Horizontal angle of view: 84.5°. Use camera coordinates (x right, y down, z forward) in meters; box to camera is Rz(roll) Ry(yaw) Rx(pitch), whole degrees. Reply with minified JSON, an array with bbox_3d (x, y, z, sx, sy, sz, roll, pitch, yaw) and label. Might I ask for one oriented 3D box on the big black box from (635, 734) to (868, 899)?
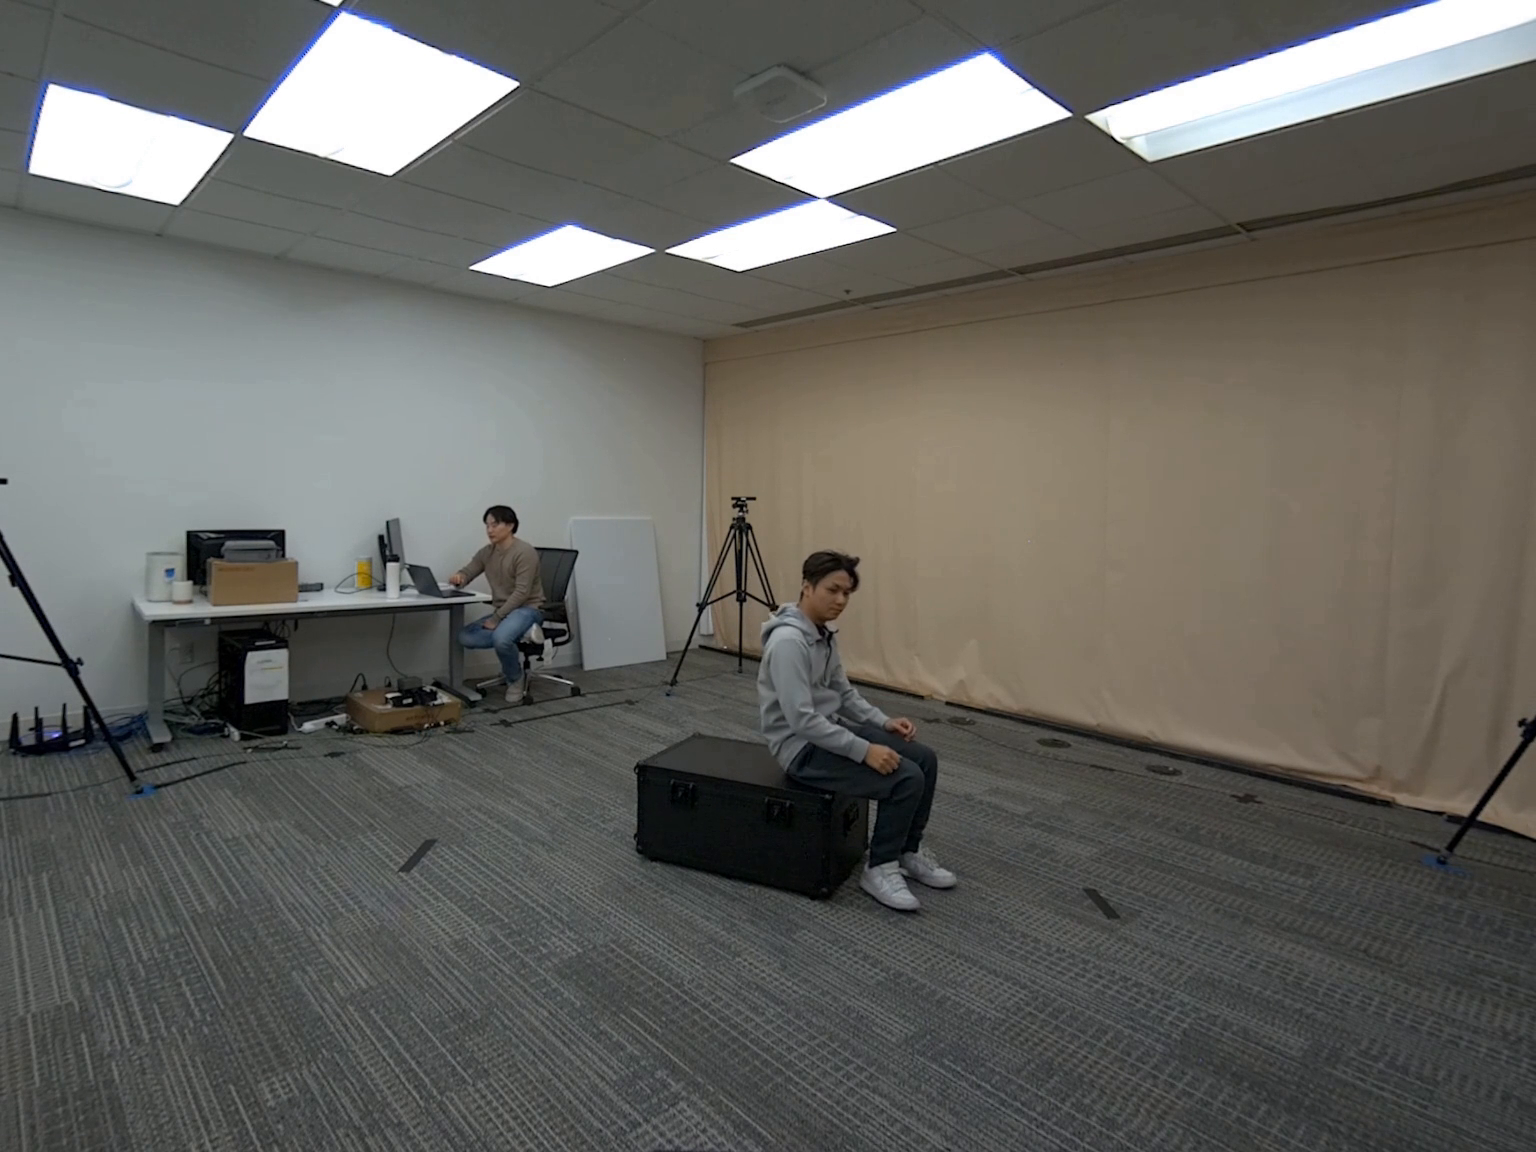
[{"bbox_3d":[-0.032,0.908,3.254,0.878,0.395,0.513,3,5,25],"label":"big black box"}]
